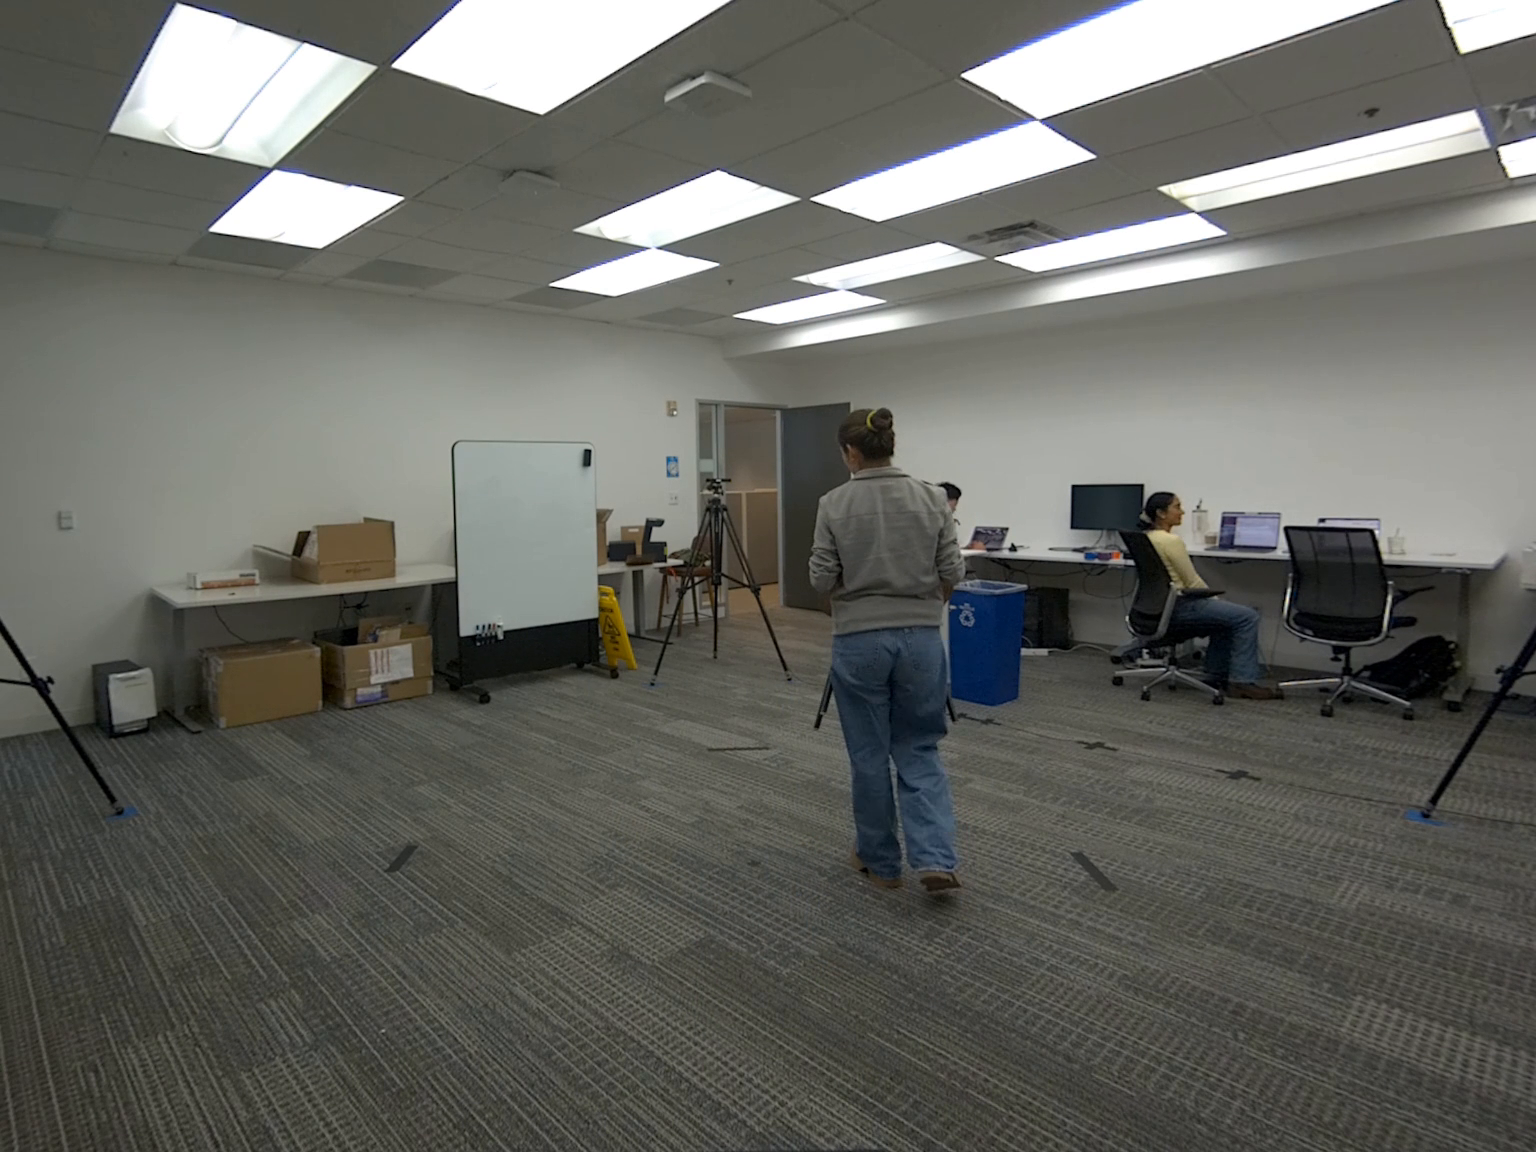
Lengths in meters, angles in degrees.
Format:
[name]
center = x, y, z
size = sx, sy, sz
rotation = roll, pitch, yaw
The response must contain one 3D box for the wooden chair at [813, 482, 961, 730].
[wooden chair]
center = 0.433, 0.135, 3.174
size = 0.480, 0.889, 0.515
rotation = 2, -15, 2
